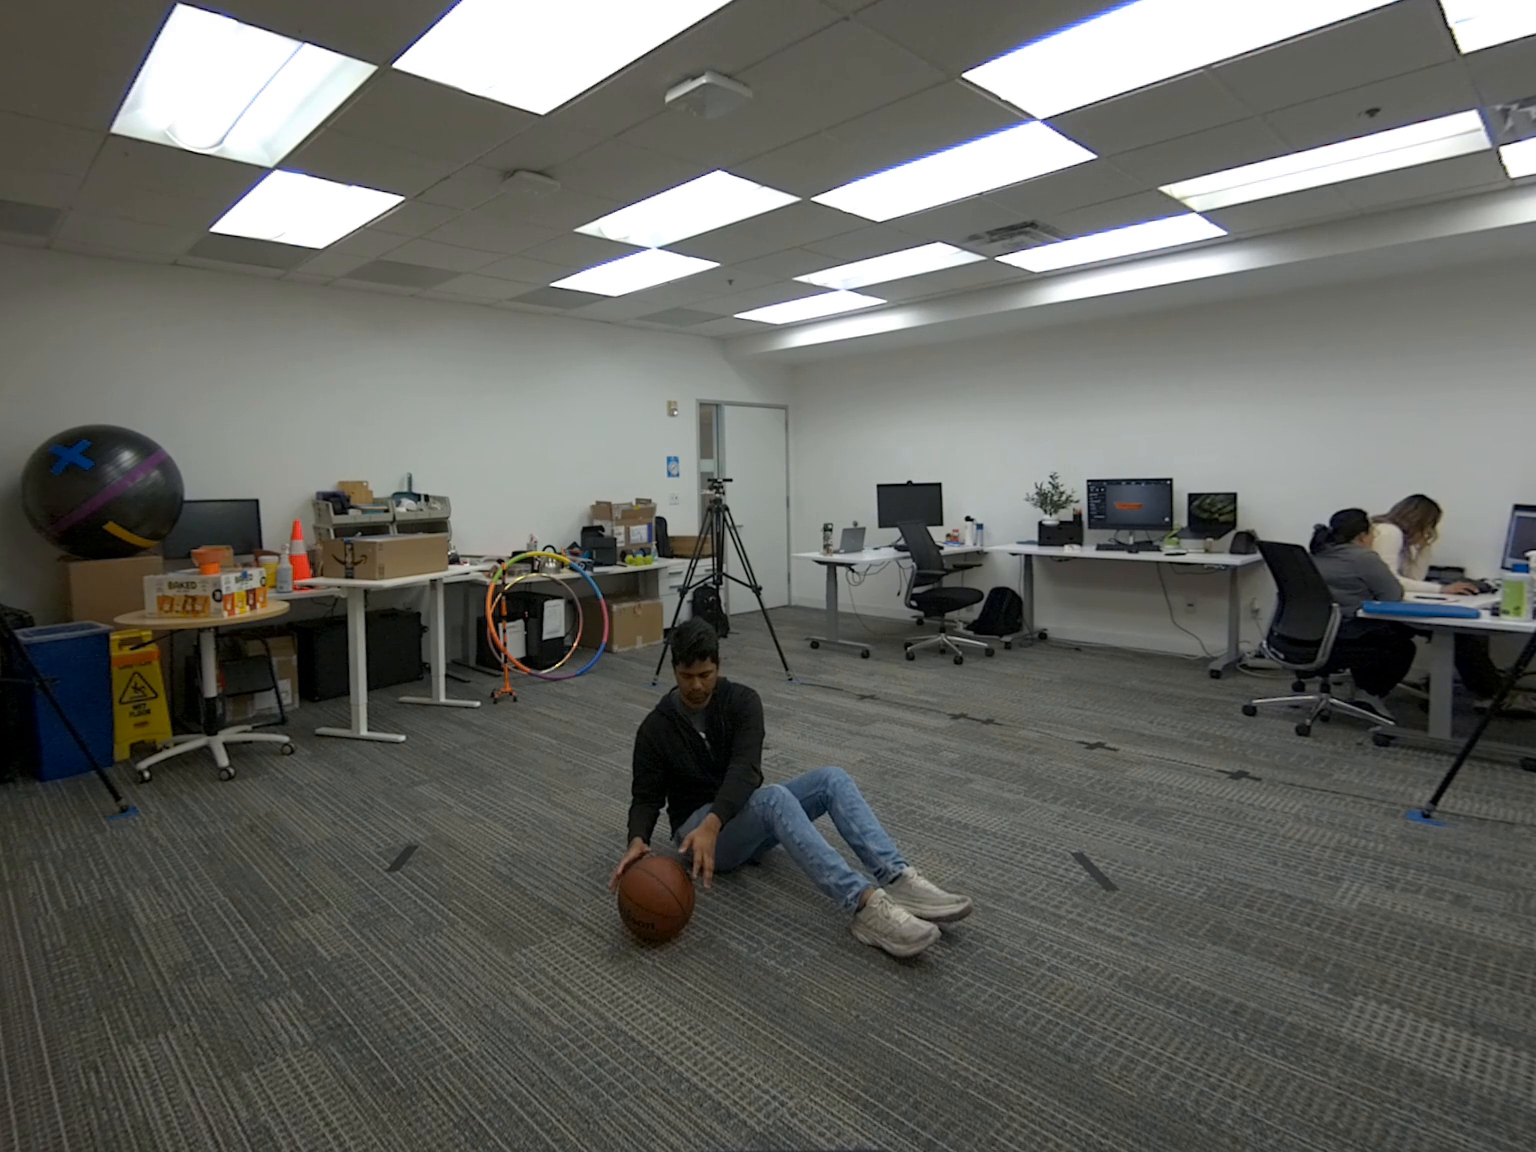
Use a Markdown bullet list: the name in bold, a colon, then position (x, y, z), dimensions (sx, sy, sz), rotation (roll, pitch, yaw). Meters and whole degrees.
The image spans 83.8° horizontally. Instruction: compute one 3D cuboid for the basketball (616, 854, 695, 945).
- **basketball**: position (-0.334, 0.987, 2.624), dimensions (0.236, 0.235, 0.237), rotation (-1, 5, -2)
